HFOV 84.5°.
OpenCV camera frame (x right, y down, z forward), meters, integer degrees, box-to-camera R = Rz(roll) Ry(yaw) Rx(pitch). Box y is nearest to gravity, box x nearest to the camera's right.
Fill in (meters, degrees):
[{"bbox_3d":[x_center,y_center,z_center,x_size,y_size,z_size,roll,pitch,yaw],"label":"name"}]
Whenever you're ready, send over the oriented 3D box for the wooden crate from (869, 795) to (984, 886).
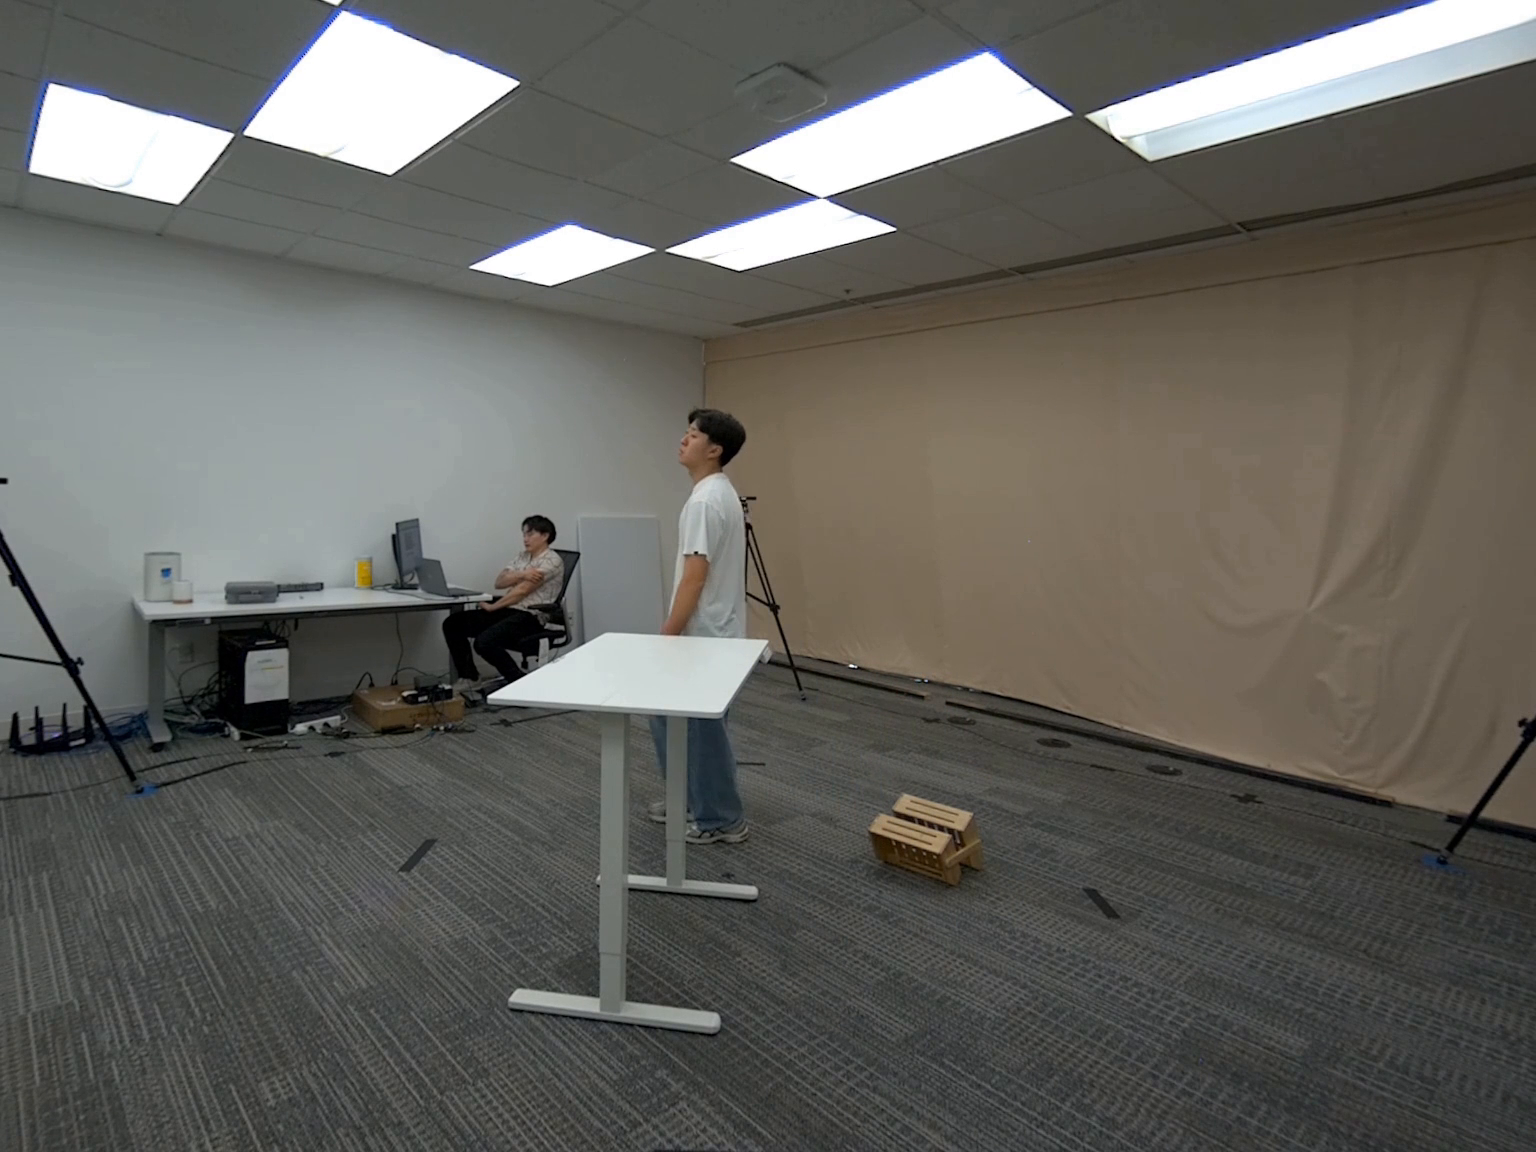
[{"bbox_3d":[0.591,1.027,3.194,0.332,0.296,0.272,5,33,40],"label":"wooden crate"}]
